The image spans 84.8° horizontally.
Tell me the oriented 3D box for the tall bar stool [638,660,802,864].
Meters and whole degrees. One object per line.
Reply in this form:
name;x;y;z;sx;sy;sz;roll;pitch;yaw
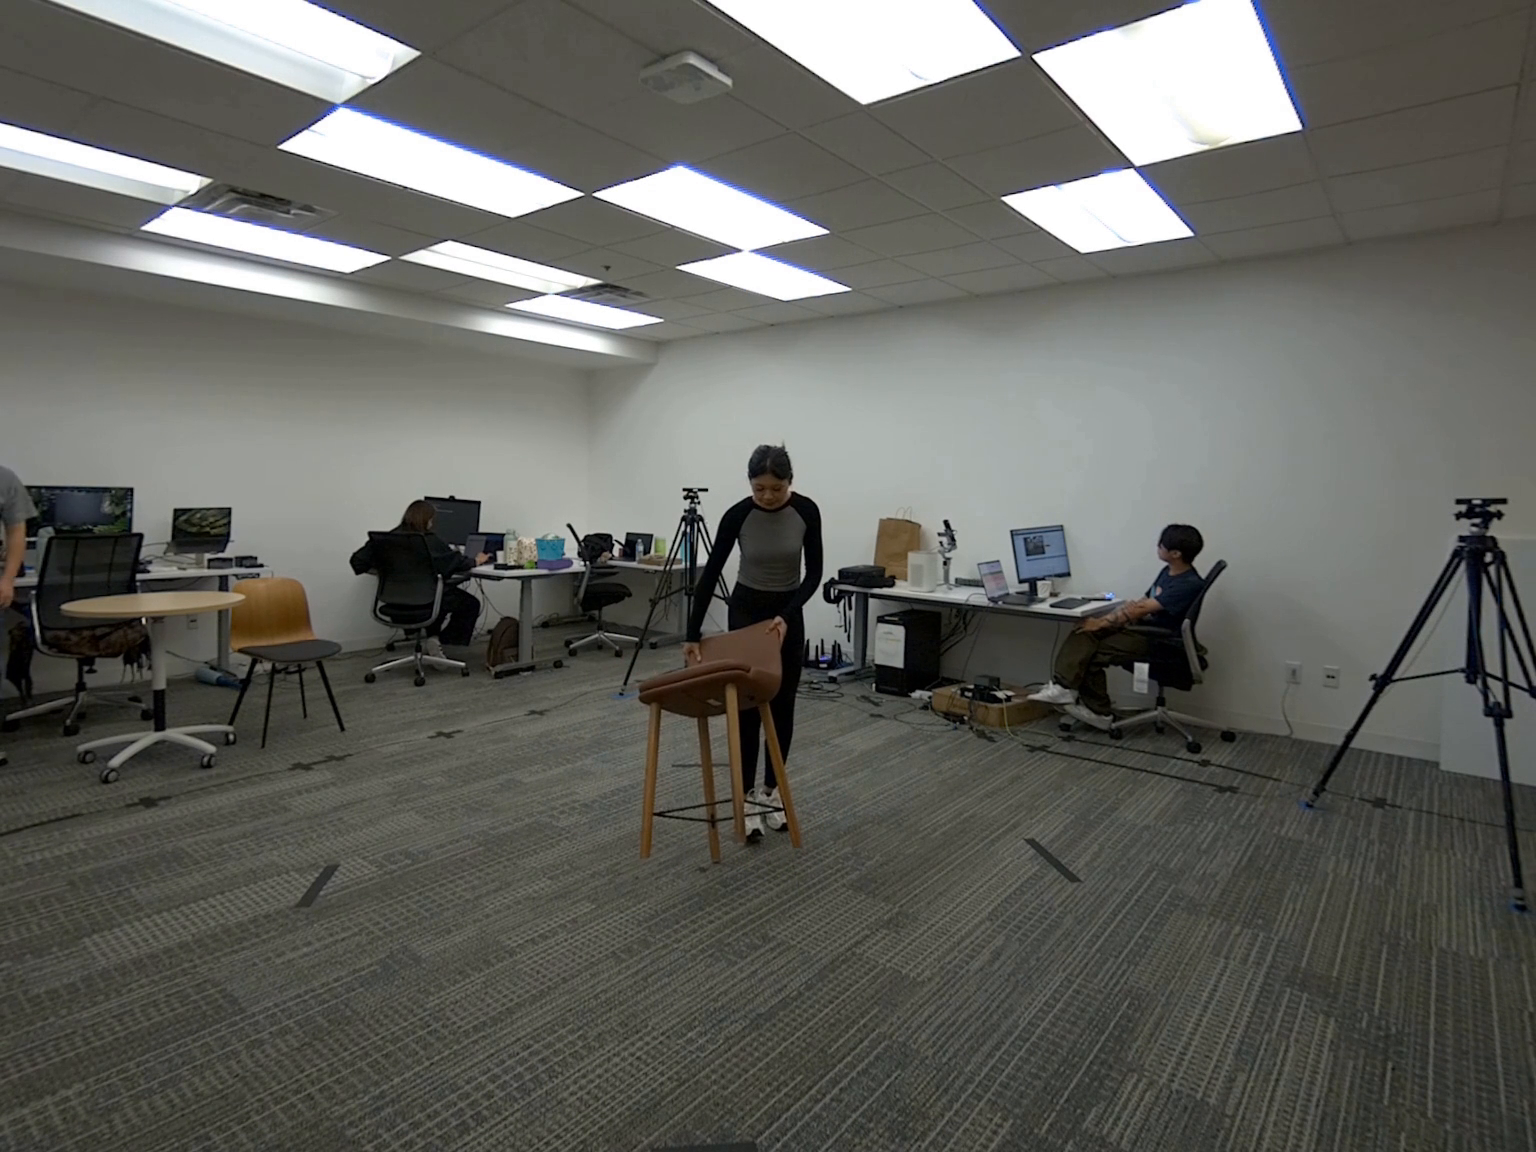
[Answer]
tall bar stool;-0.199;0.554;3.118;0.464;0.912;0.448;-19;-29;26
